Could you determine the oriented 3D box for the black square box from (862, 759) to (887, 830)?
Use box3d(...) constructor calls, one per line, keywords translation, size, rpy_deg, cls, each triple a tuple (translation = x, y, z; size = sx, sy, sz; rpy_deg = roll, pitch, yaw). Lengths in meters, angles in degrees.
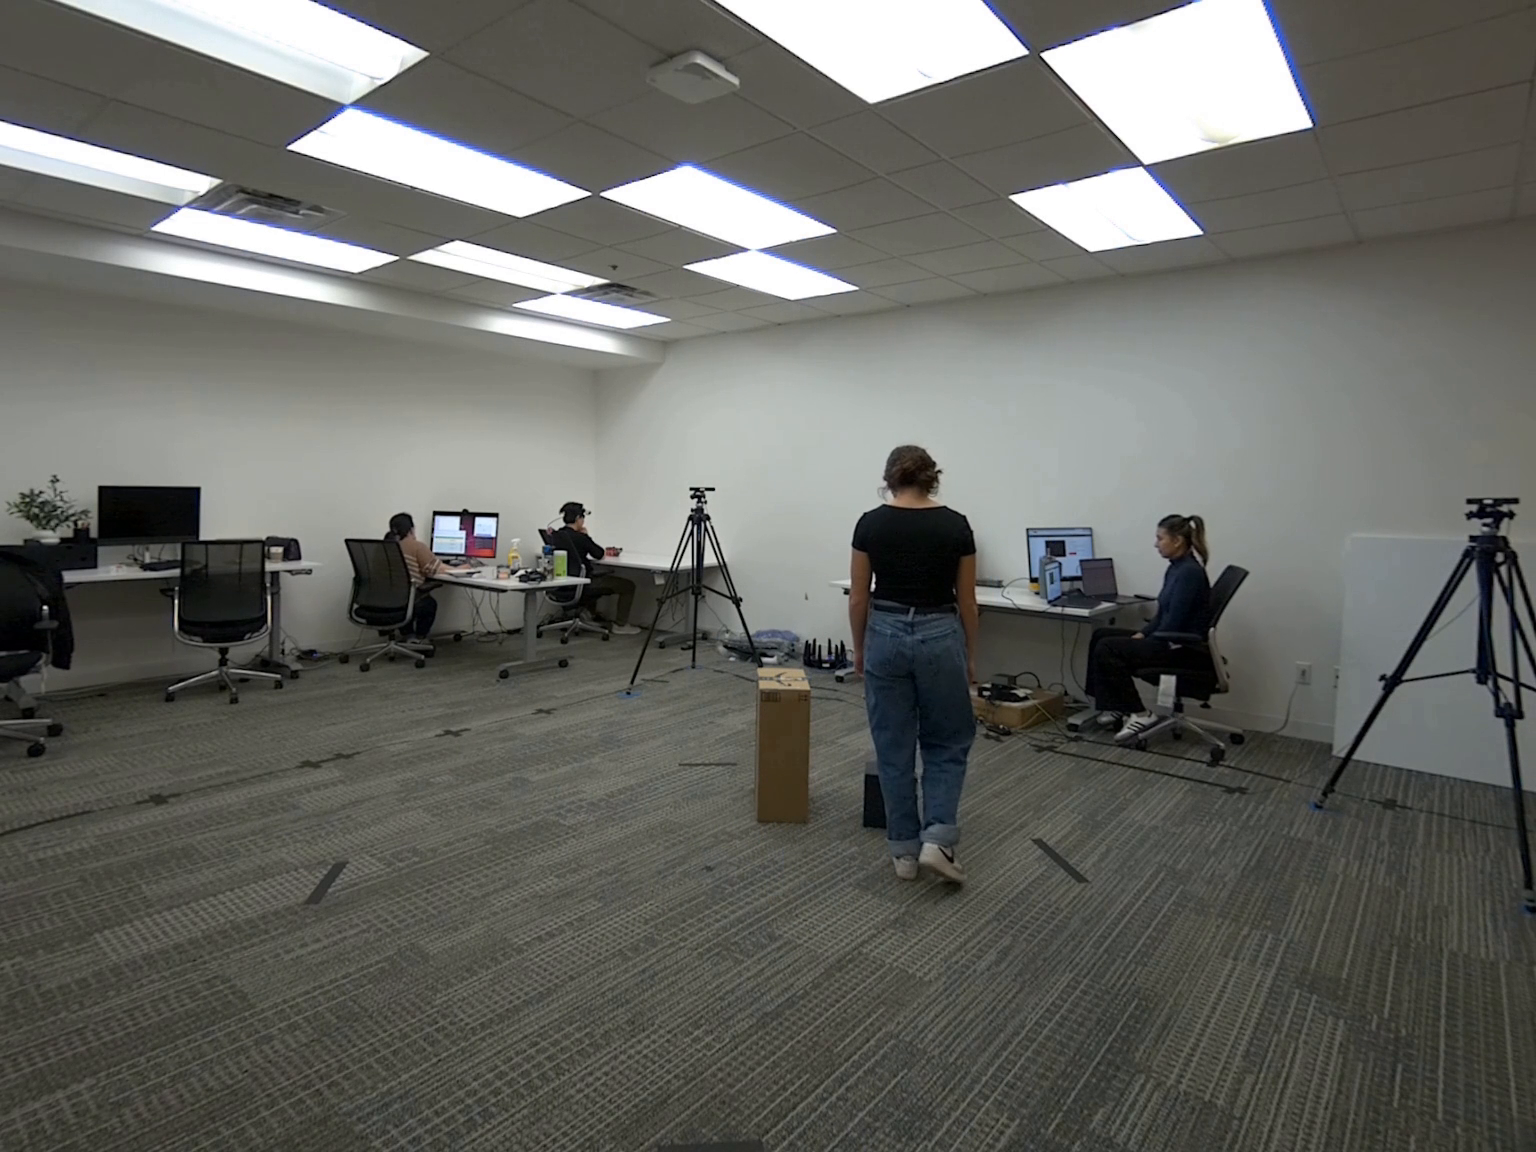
box3d(translation=(0.507, 0.913, 3.575), size=(0.219, 0.227, 0.155), rpy_deg=(2, 5, 9), cls="black square box")
